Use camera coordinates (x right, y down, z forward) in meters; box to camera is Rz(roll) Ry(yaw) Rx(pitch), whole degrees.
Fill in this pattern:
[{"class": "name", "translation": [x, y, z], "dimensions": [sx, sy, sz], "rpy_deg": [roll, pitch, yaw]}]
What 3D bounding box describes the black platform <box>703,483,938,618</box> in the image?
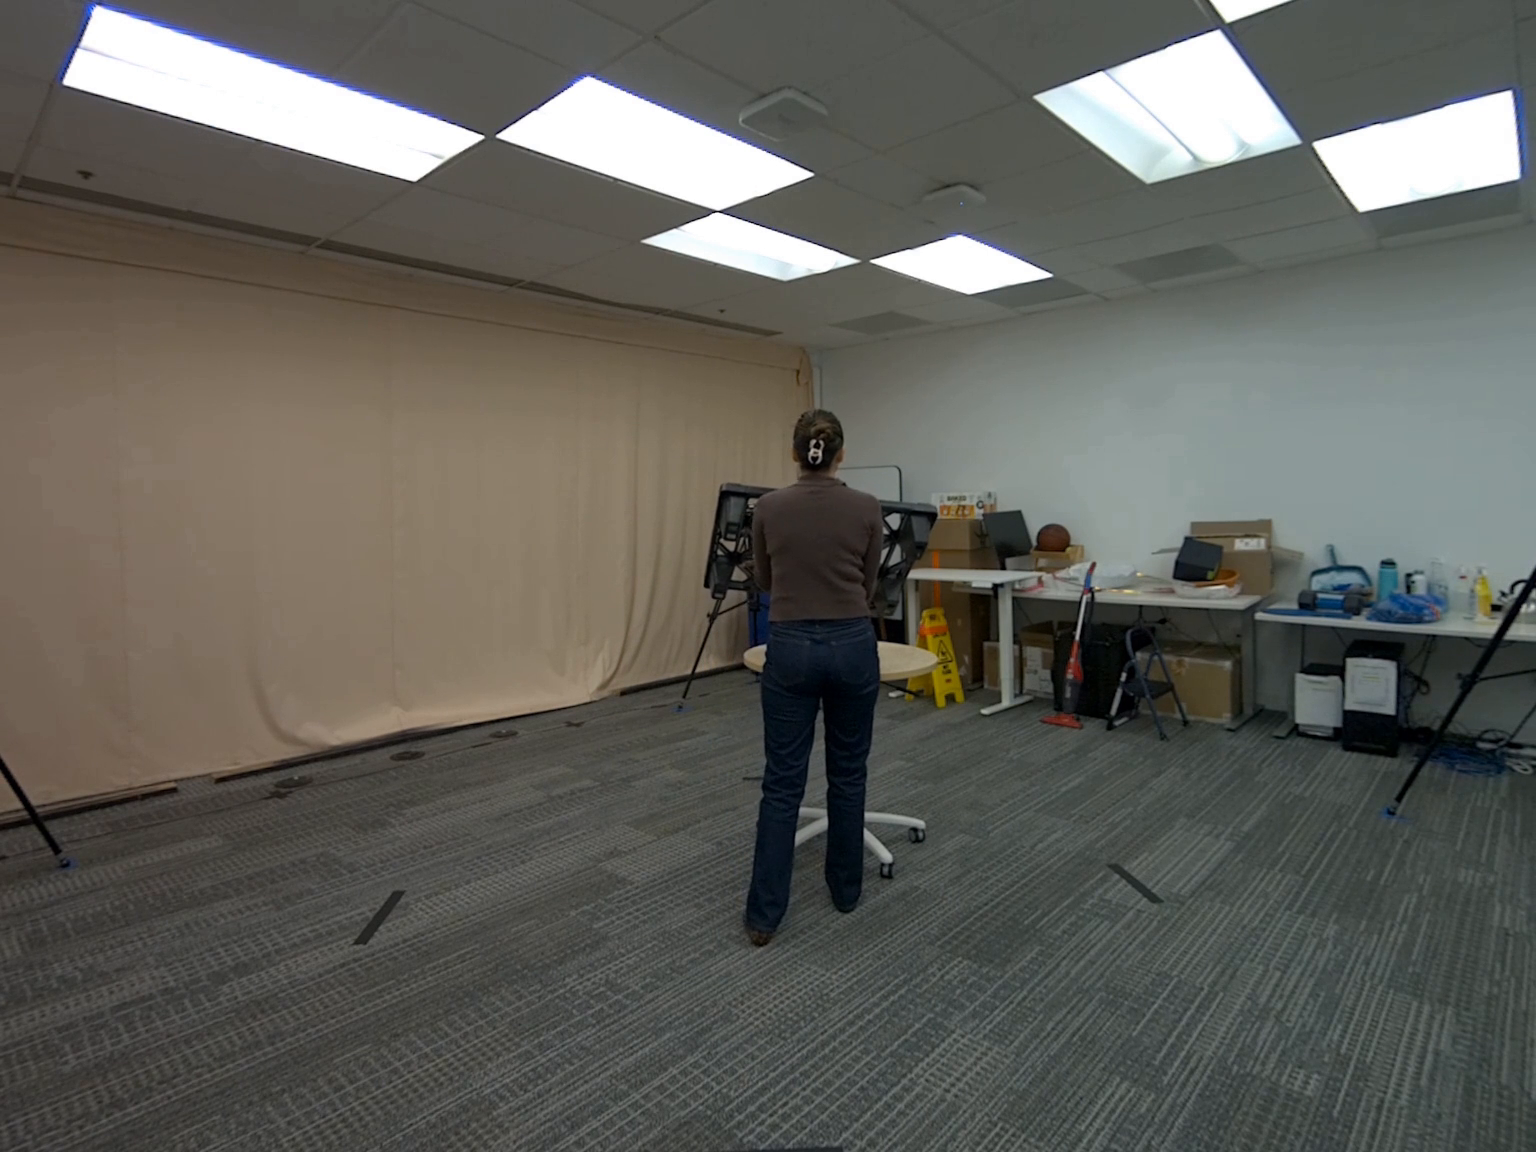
[{"class": "black platform", "translation": [0.177, -0.062, 3.215], "dimensions": [0.802, 0.146, 0.597], "rpy_deg": [5, -40, -4]}]
